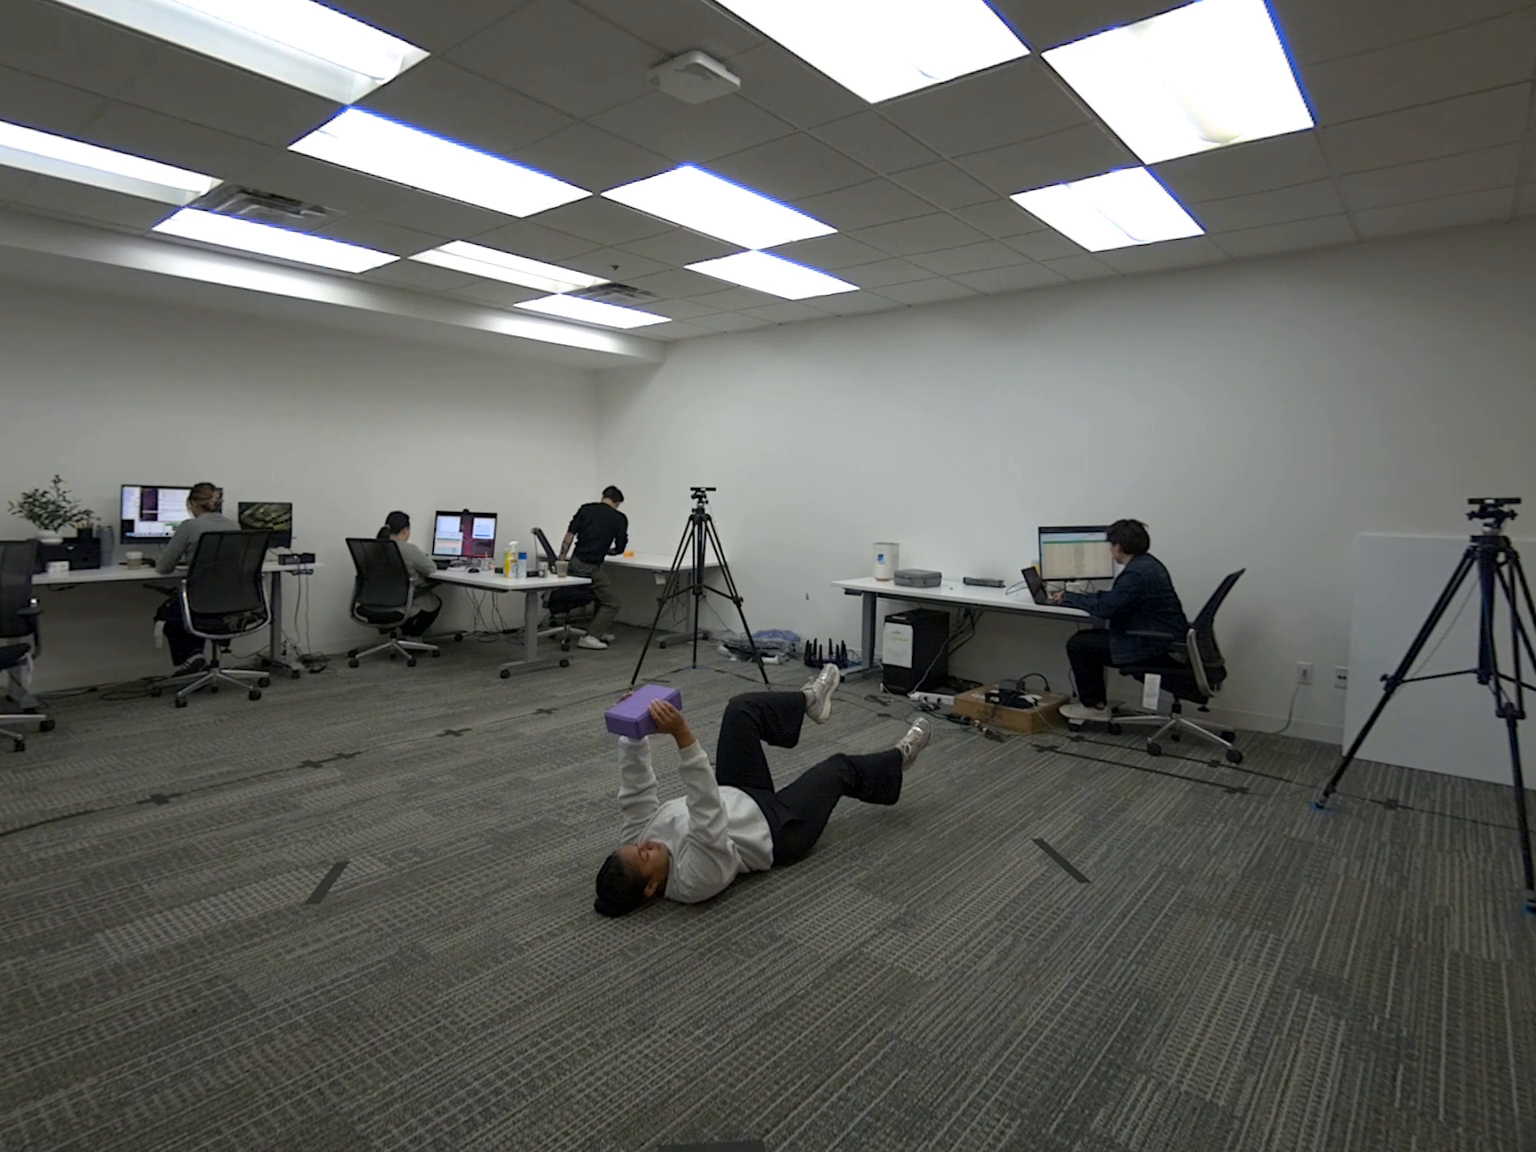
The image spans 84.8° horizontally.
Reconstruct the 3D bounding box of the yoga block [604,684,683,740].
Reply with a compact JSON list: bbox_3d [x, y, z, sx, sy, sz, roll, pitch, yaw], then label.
[{"bbox_3d":[-0.418,0.444,2.796,0.153,0.075,0.226,3,20,32],"label":"yoga block"}]
